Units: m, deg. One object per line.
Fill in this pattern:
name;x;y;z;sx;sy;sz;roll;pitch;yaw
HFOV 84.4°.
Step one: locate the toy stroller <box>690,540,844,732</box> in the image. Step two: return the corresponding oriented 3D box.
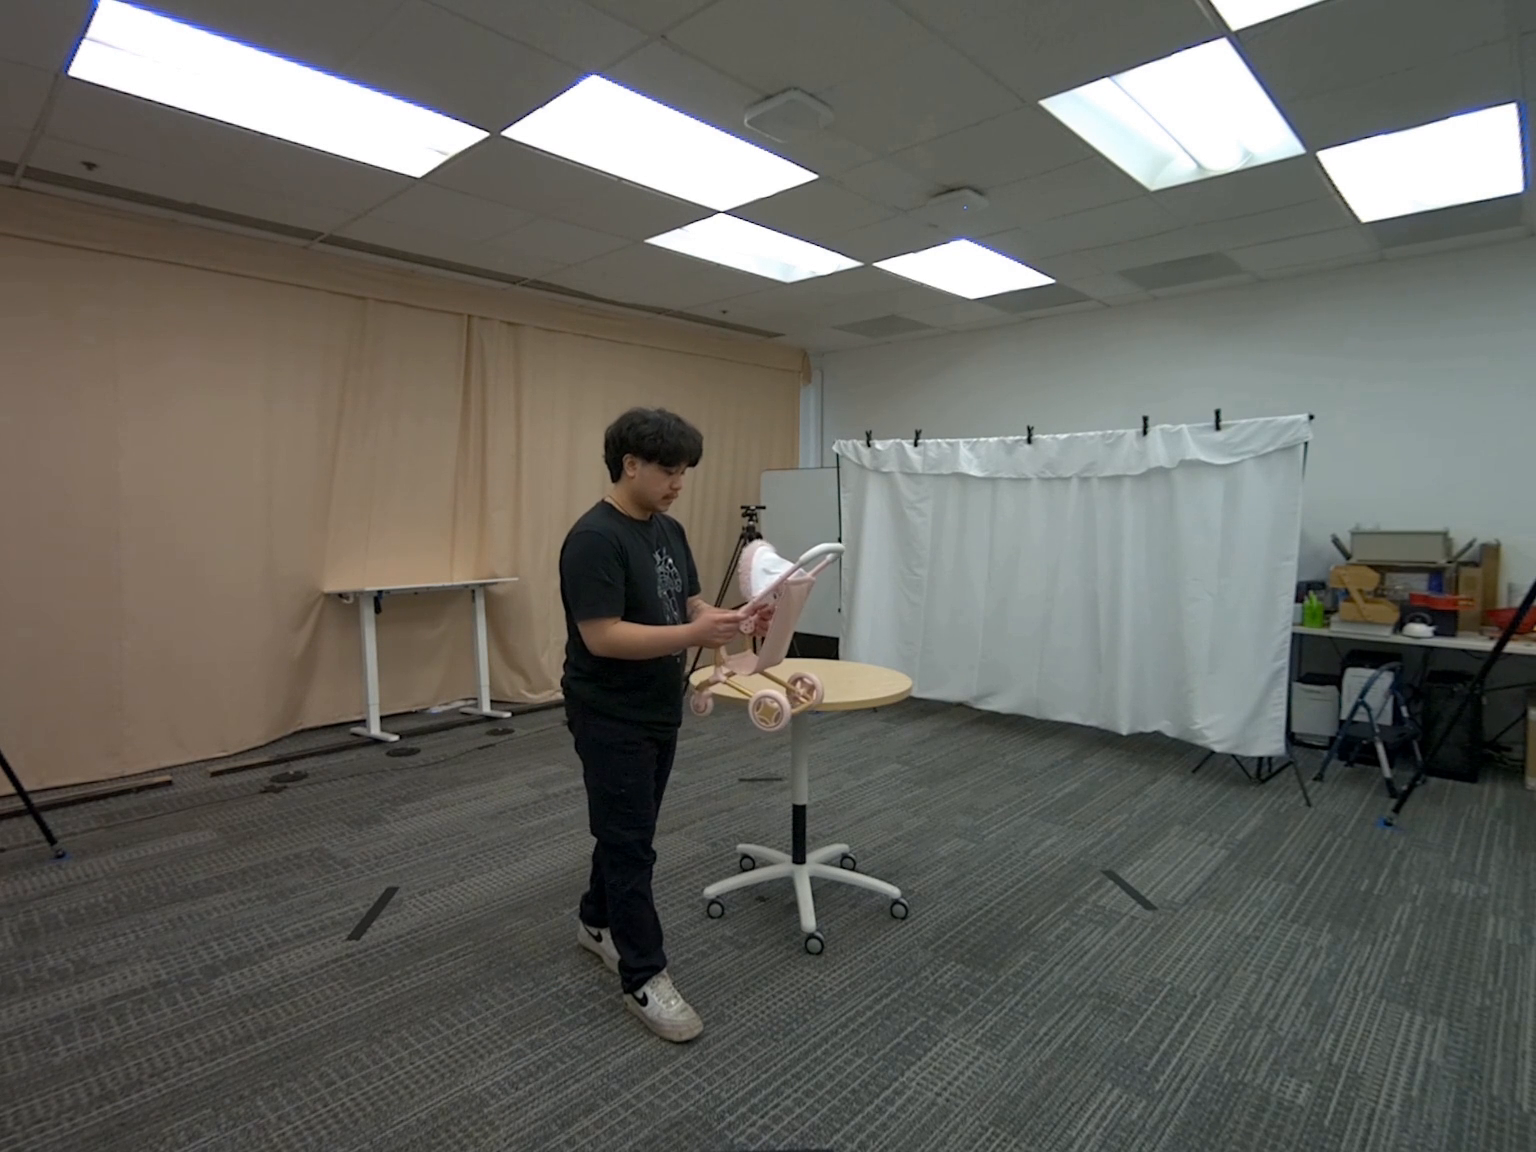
toy stroller;-0.018;0.150;2.190;0.352;0.533;0.274;12;8;29
